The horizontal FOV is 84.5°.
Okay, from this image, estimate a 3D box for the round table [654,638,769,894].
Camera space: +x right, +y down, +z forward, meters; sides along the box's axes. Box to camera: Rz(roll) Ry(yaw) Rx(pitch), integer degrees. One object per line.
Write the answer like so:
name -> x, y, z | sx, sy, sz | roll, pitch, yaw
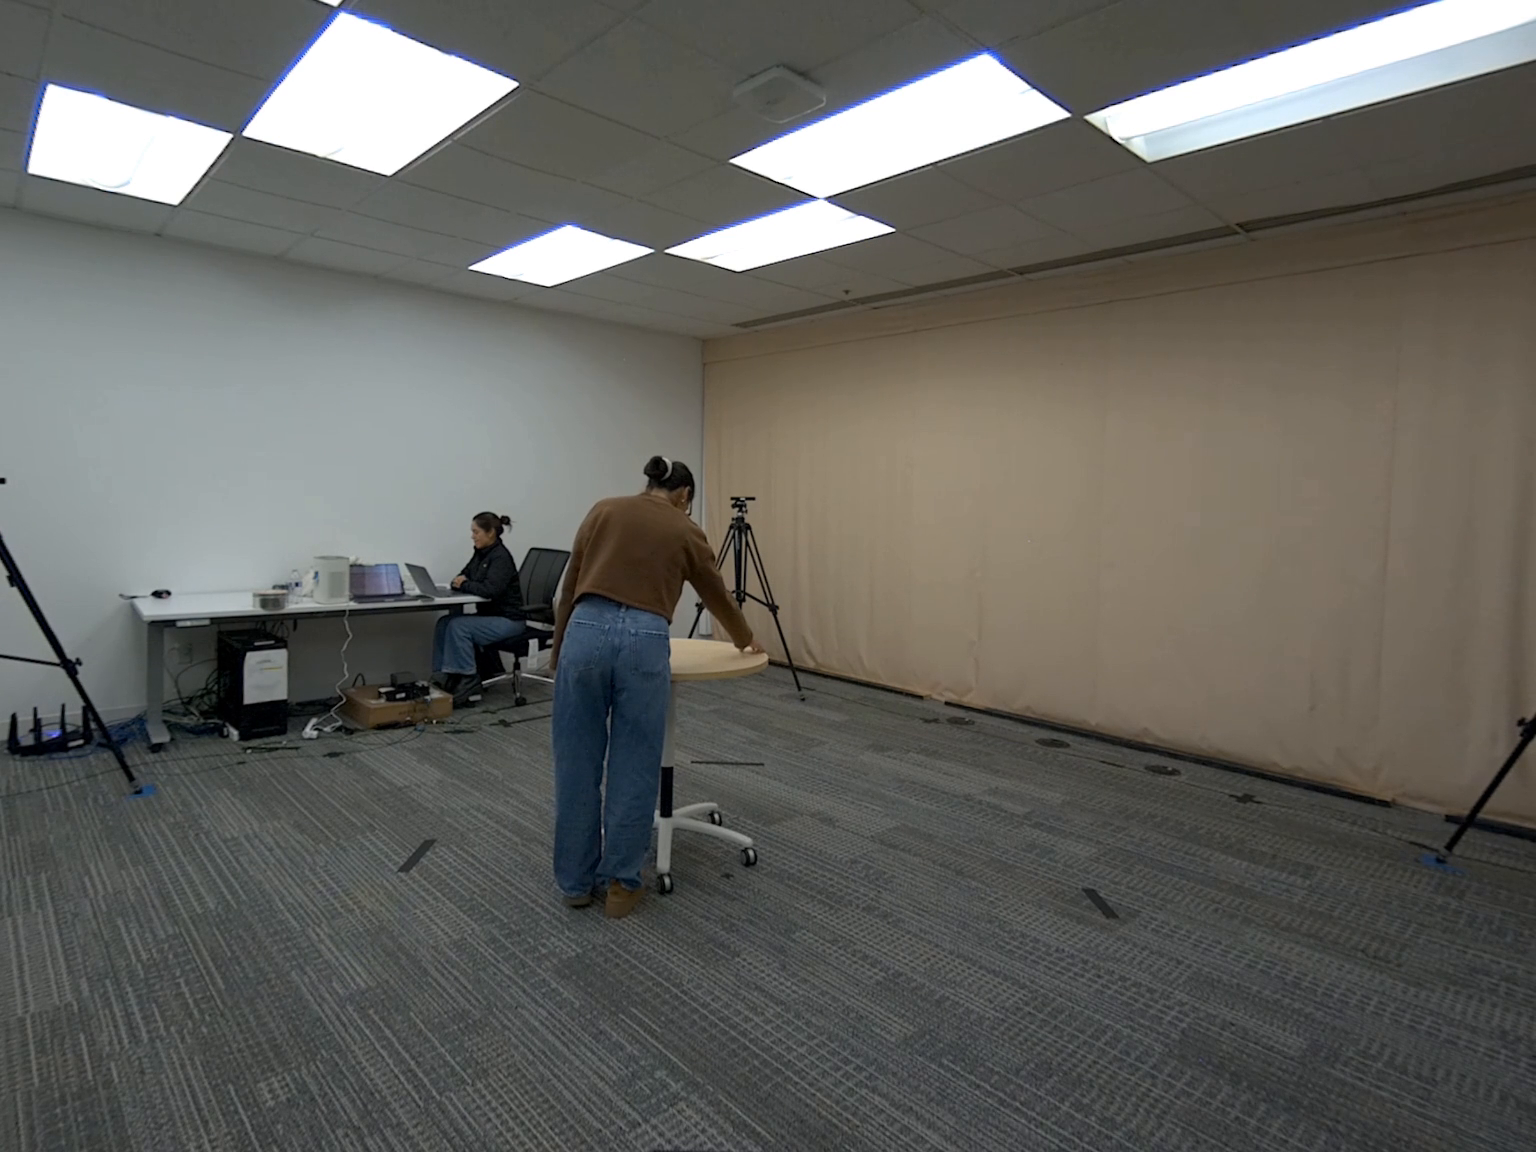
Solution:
round table -> -0.398, 0.698, 3.297 | 0.763, 0.792, 0.766 | 1, 3, -1
